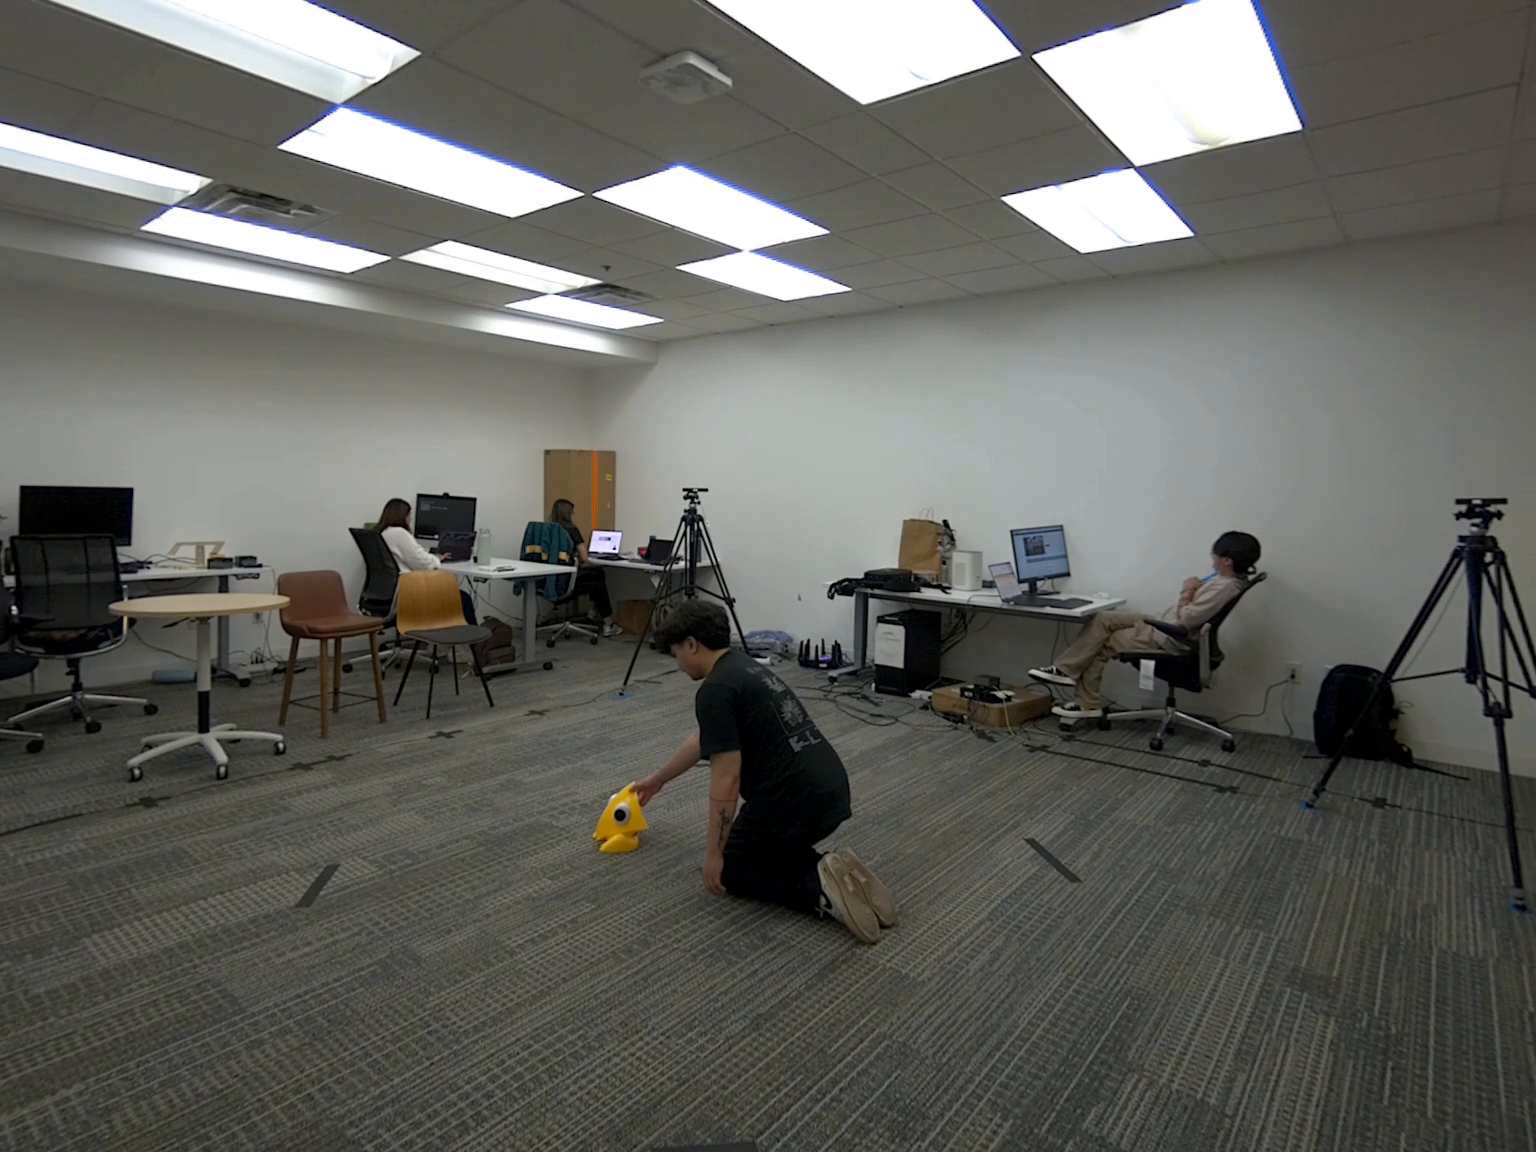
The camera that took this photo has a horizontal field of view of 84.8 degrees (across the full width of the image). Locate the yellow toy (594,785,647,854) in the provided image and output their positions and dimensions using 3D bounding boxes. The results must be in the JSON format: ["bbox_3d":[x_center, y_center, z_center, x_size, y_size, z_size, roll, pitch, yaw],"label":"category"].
[{"bbox_3d":[-0.598,0.927,3.335,0.189,0.230,0.210,0,6,-22],"label":"yellow toy"}]
